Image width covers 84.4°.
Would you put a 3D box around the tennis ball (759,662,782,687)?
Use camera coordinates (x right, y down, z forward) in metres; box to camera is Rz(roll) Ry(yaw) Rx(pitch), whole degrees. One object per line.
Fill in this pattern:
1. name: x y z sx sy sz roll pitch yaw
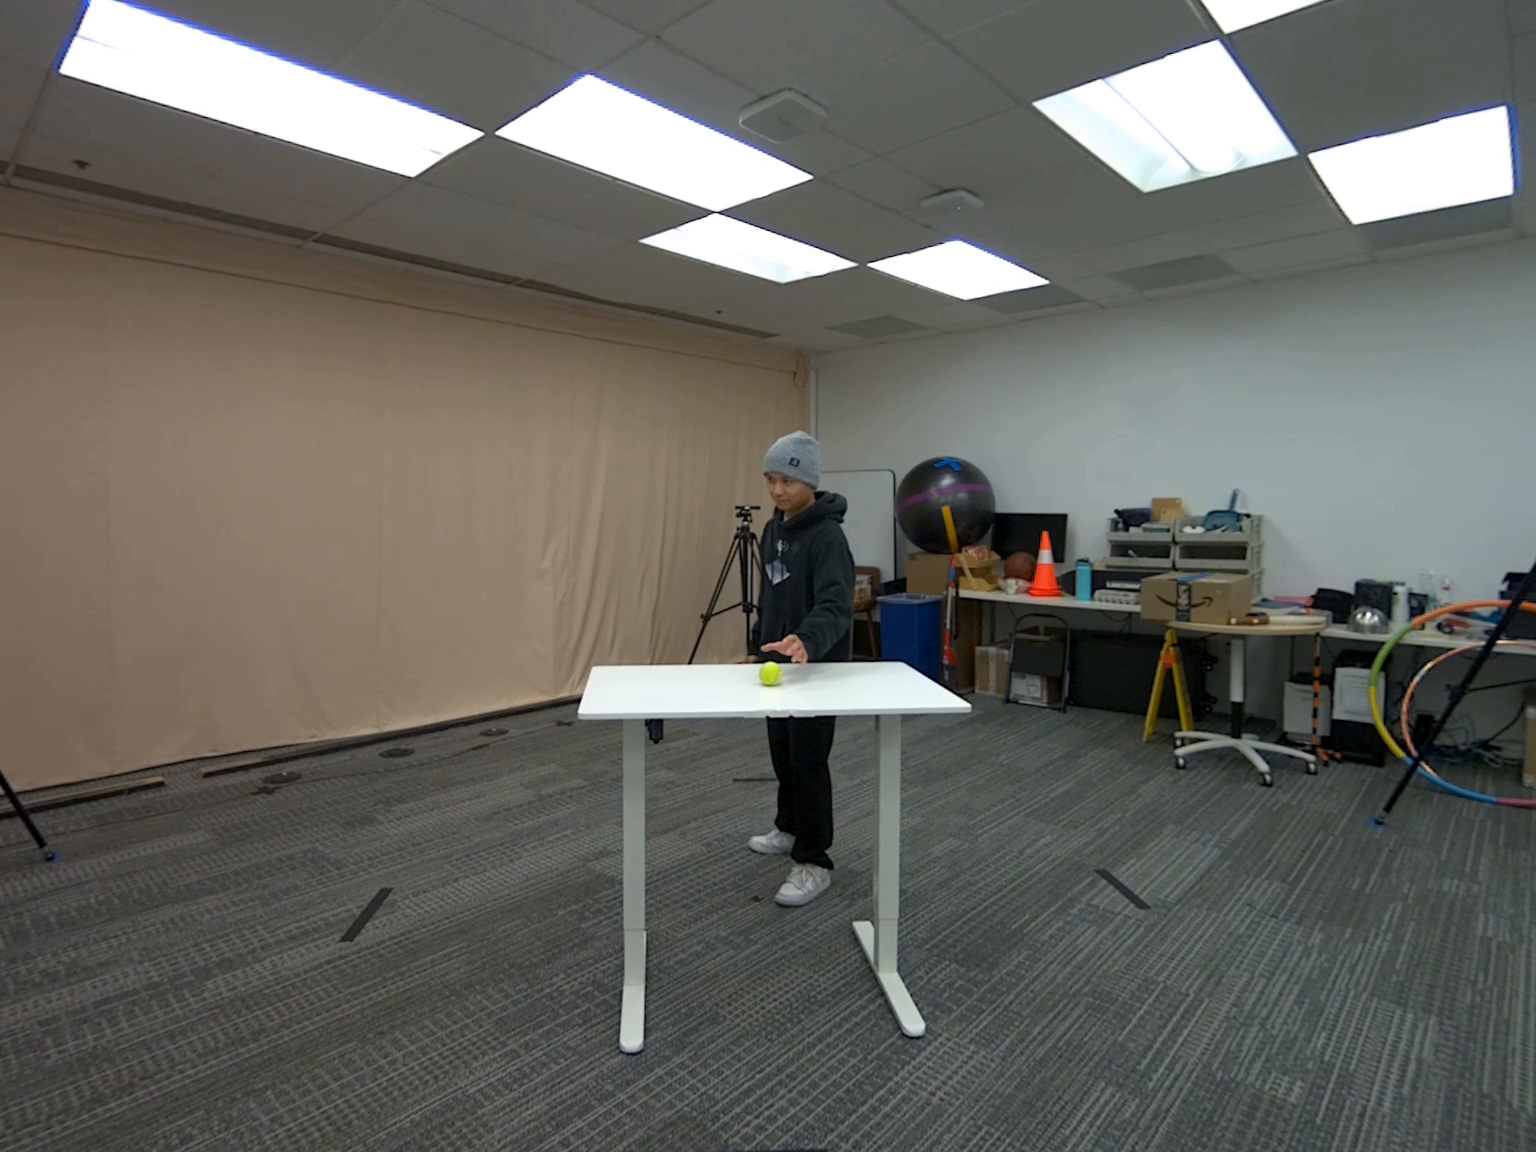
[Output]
1. tennis ball: 0.014 0.279 2.406 0.066 0.066 0.067 0 4 -2
